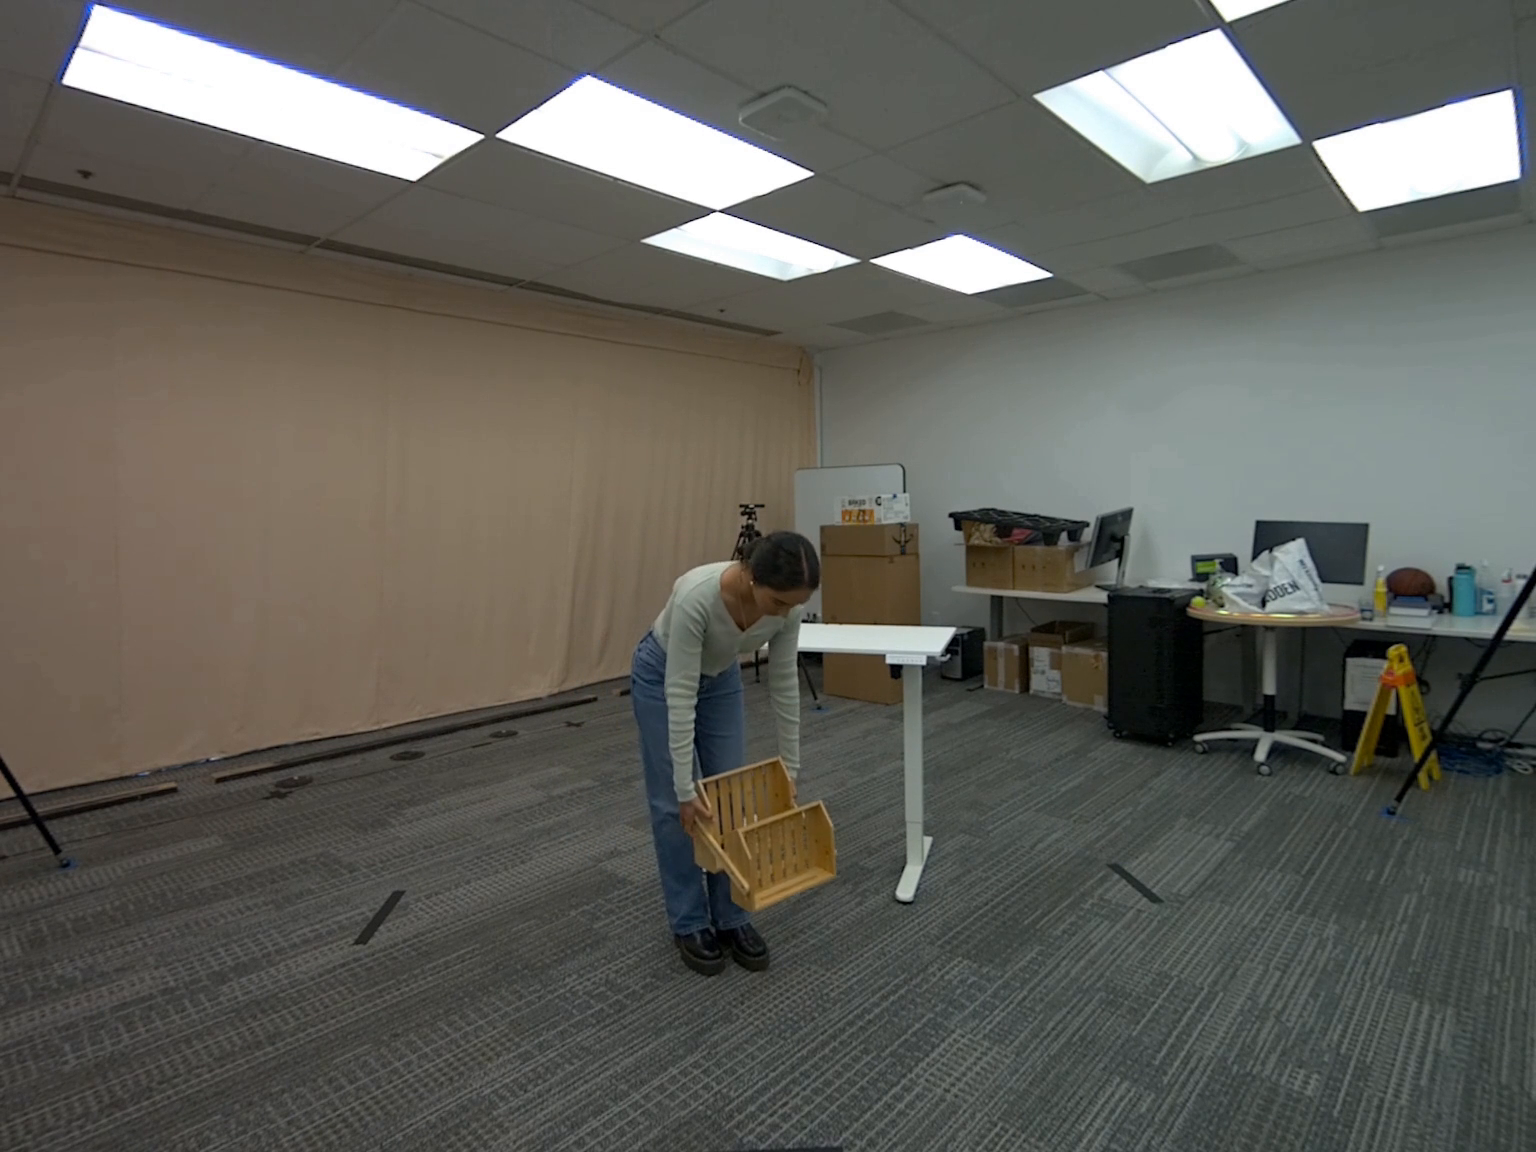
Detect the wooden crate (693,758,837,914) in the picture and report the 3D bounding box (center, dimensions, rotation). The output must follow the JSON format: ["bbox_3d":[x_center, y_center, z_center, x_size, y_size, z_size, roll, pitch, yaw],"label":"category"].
[{"bbox_3d":[-0.006,0.711,2.363,0.315,0.301,0.282,-8,5,-38],"label":"wooden crate"}]
